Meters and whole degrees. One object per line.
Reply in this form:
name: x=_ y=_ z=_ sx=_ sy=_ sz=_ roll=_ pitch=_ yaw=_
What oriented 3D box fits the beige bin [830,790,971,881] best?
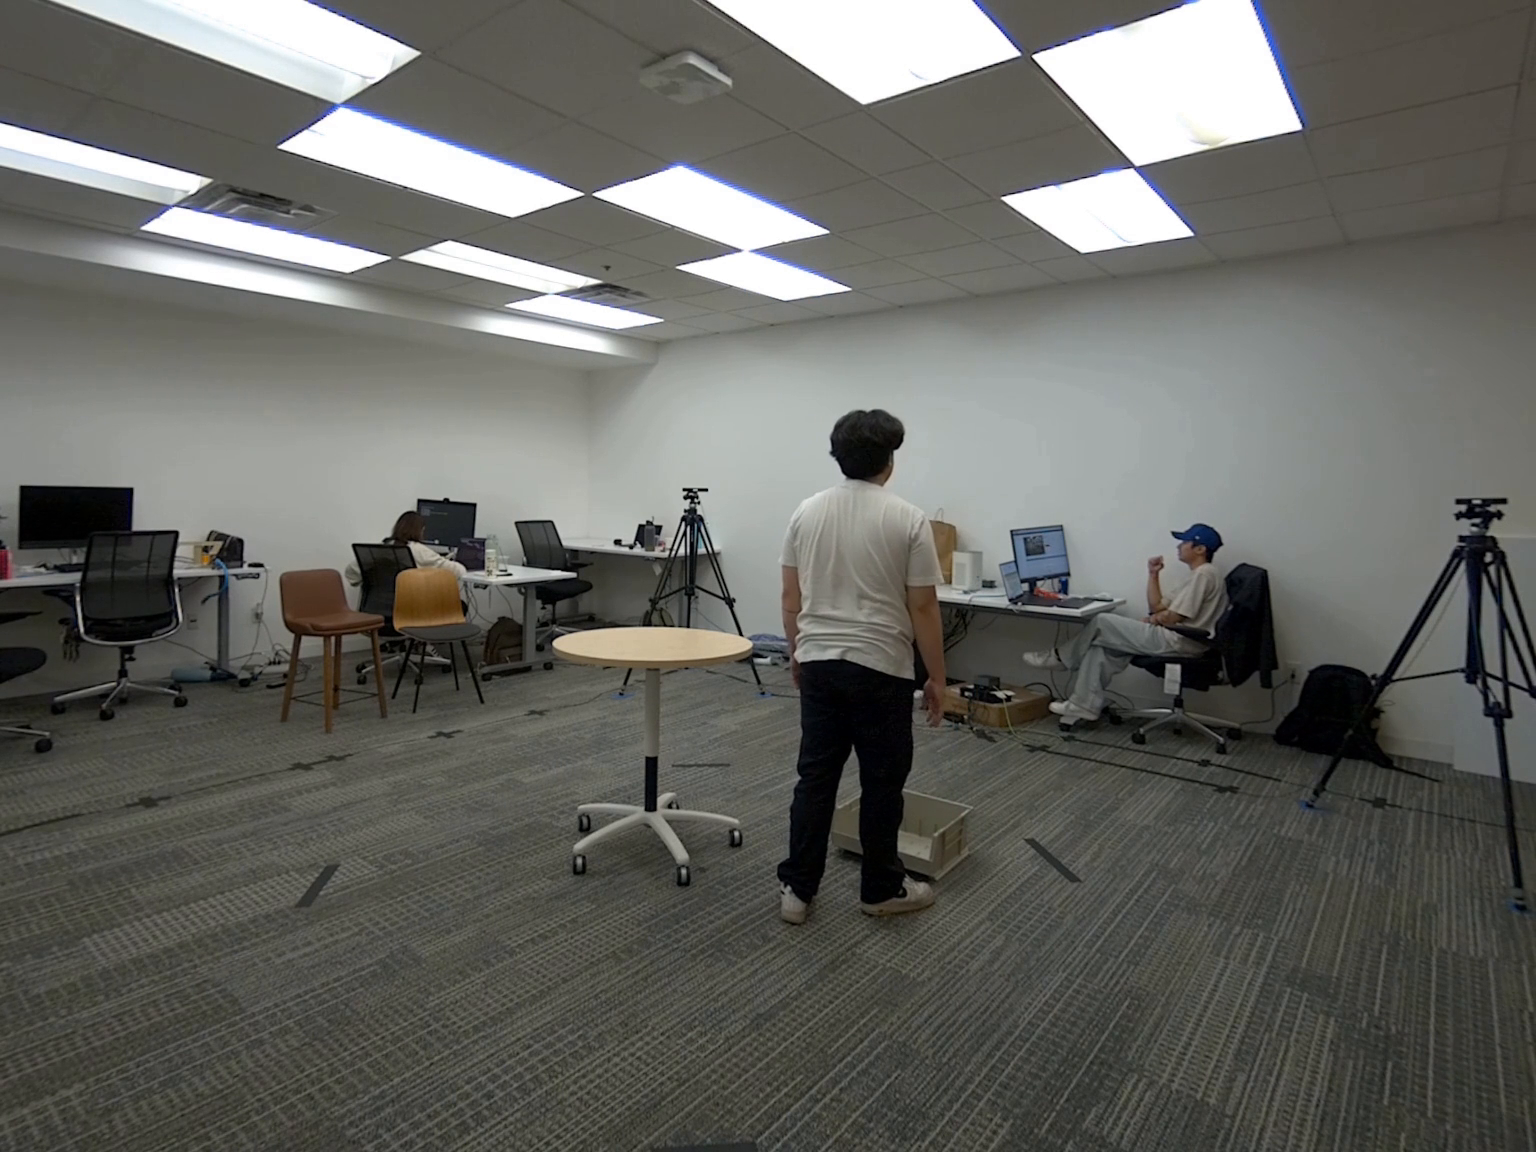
beige bin: x=0.514 y=0.982 z=3.290 sx=0.436 sy=0.188 sz=0.366 roll=4 pitch=5 yaw=35
